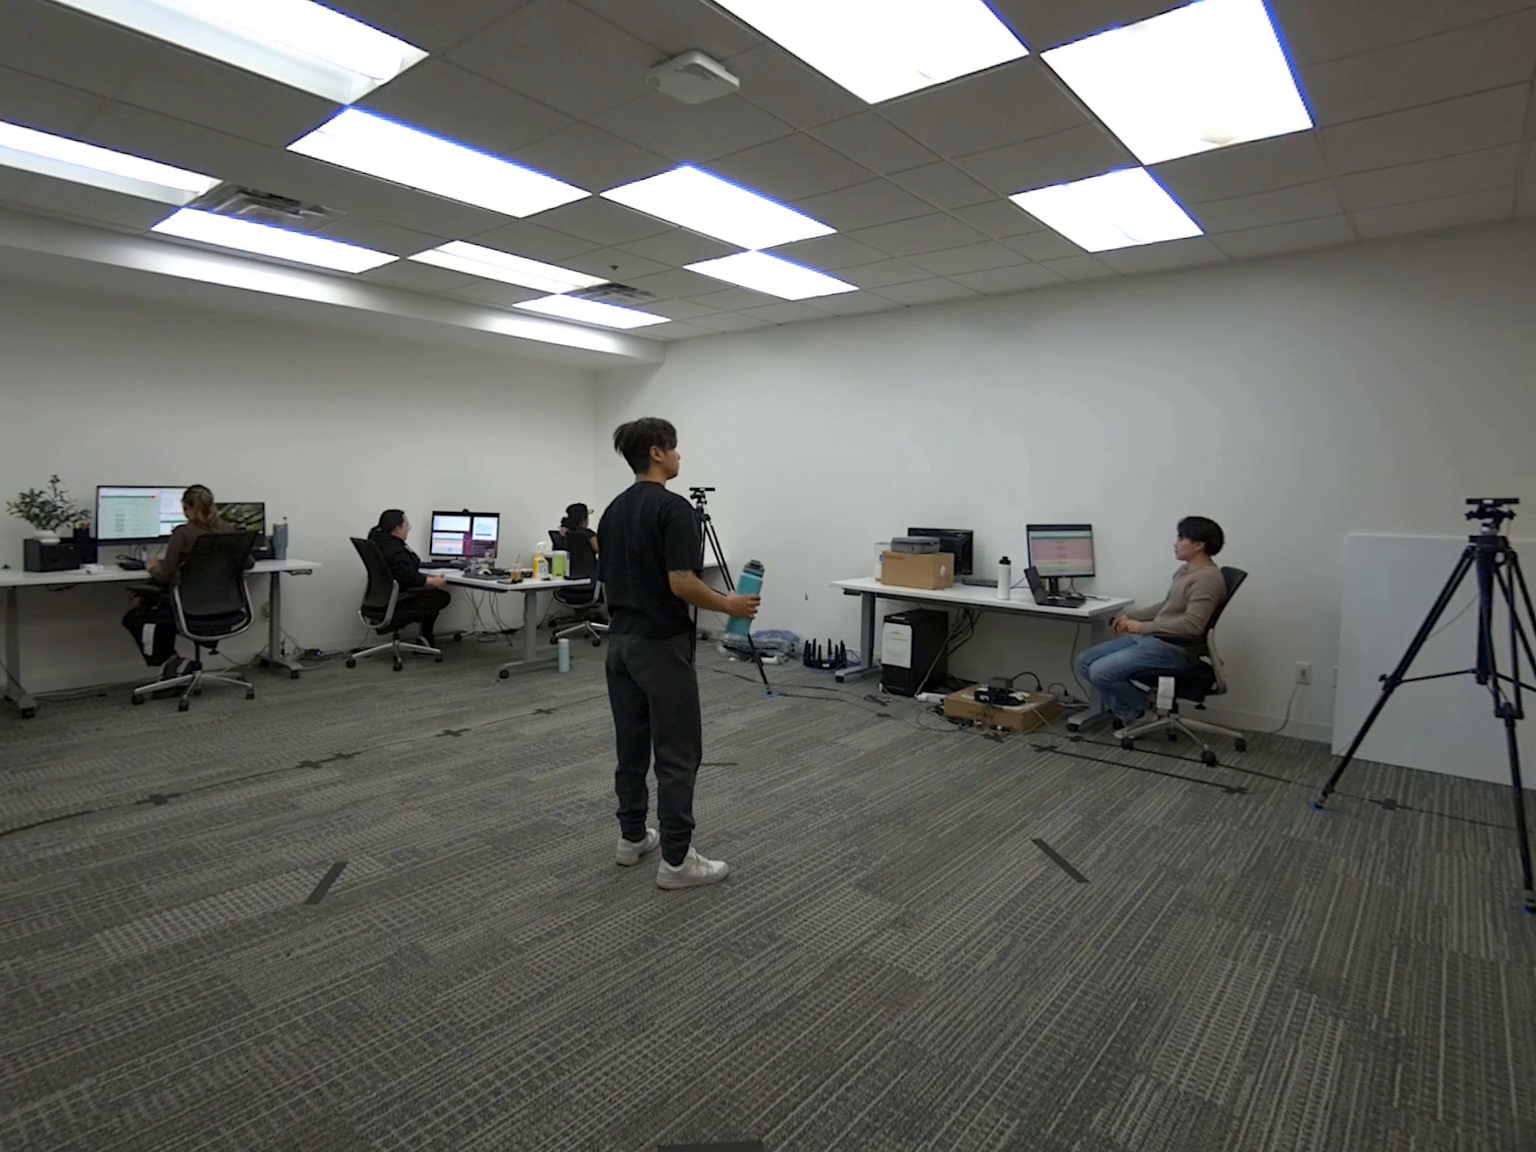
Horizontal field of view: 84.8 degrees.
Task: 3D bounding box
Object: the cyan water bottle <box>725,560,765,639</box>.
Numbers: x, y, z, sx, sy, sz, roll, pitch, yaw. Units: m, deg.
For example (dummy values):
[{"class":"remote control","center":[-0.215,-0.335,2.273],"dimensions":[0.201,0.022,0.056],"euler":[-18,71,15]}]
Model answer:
[{"class":"cyan water bottle","center":[-0.094,0.081,3.169],"dimensions":[0.092,0.284,0.092],"euler":[16,-5,-1]}]
